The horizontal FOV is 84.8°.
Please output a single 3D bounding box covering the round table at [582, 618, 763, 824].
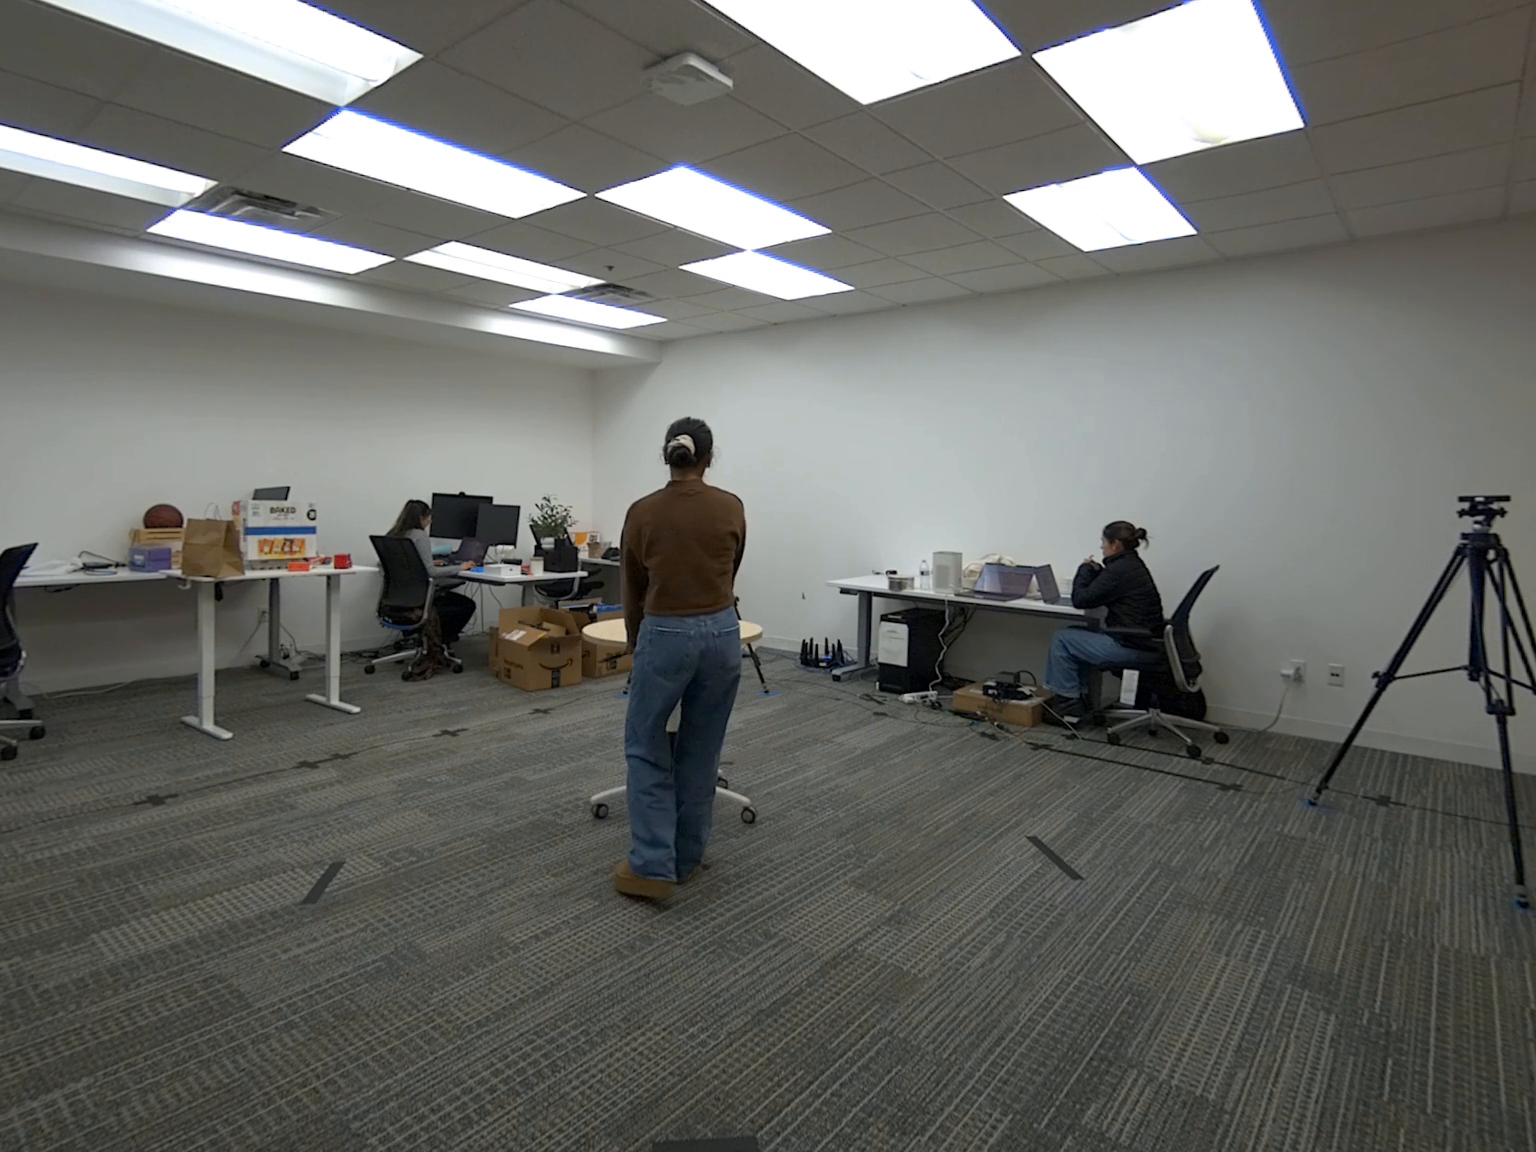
[{"bbox_3d":[-0.400,0.612,3.628,0.784,0.784,0.789,0,4,-2],"label":"round table"}]
